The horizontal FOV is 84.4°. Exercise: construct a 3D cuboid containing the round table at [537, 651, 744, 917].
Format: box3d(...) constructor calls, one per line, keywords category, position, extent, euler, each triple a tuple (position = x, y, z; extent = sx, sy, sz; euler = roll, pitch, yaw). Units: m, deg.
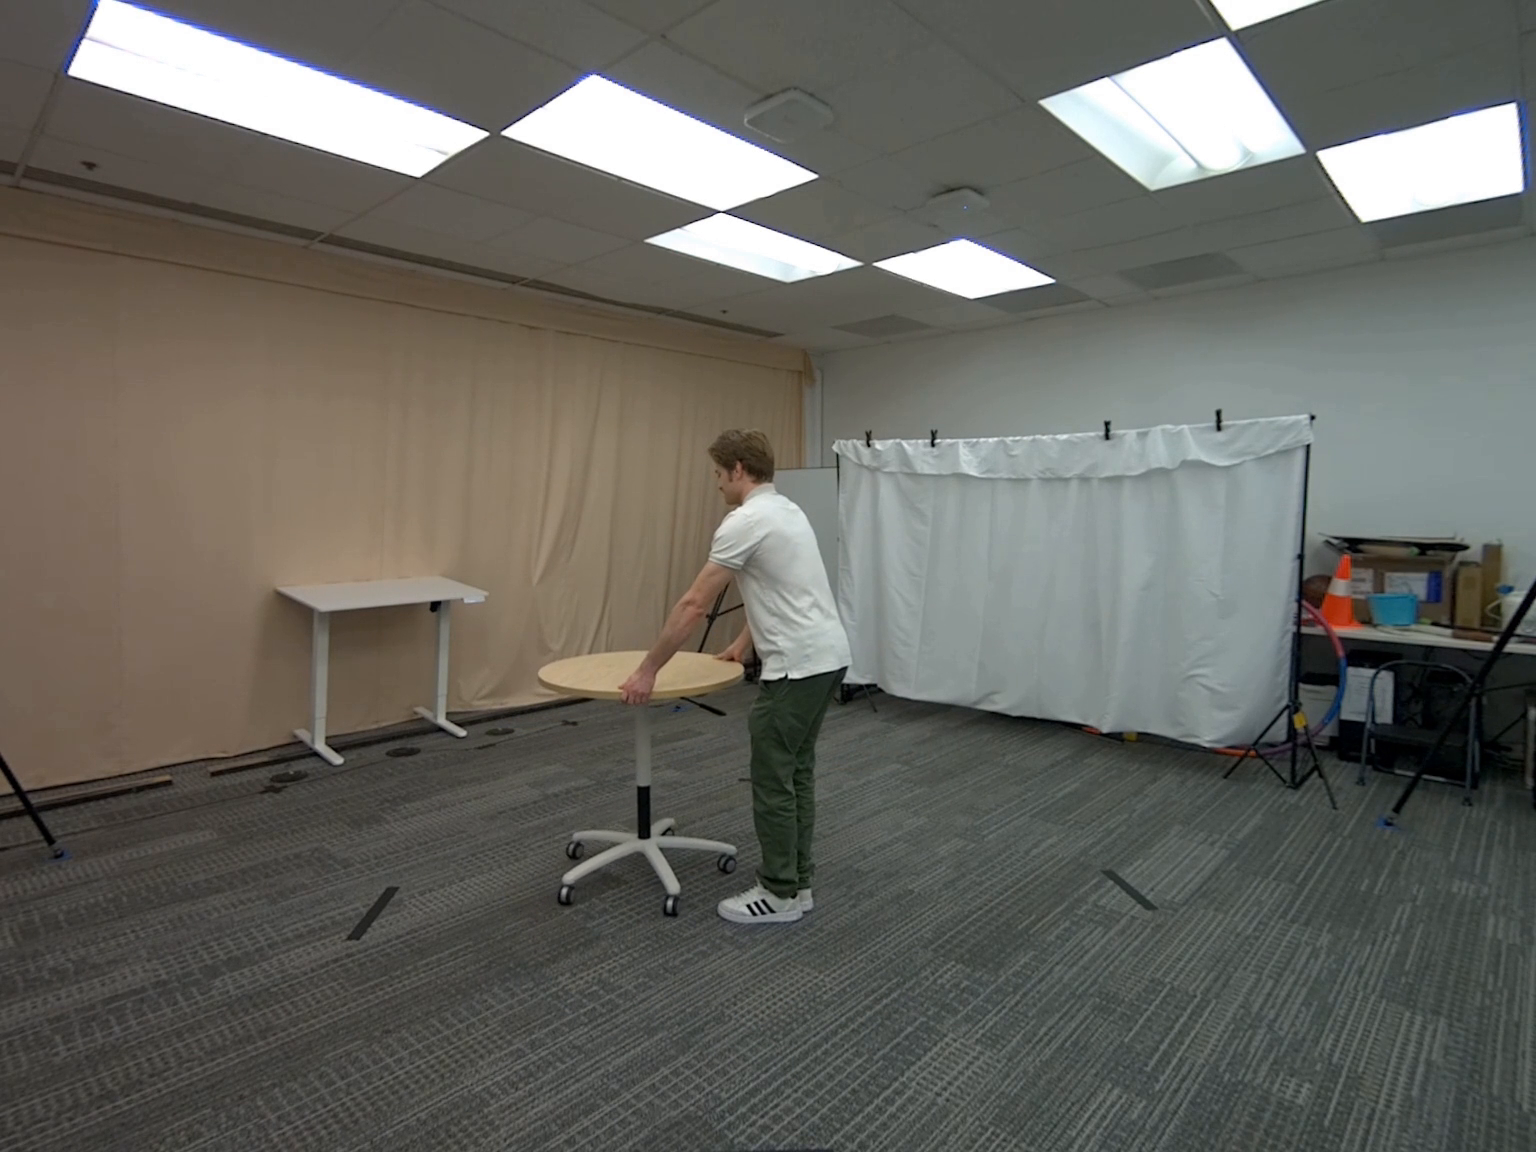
box3d(category="round table", position=(-0.469, 0.744, 3.175), extent=(0.763, 0.792, 0.766), euler=(-1, 4, -2))
